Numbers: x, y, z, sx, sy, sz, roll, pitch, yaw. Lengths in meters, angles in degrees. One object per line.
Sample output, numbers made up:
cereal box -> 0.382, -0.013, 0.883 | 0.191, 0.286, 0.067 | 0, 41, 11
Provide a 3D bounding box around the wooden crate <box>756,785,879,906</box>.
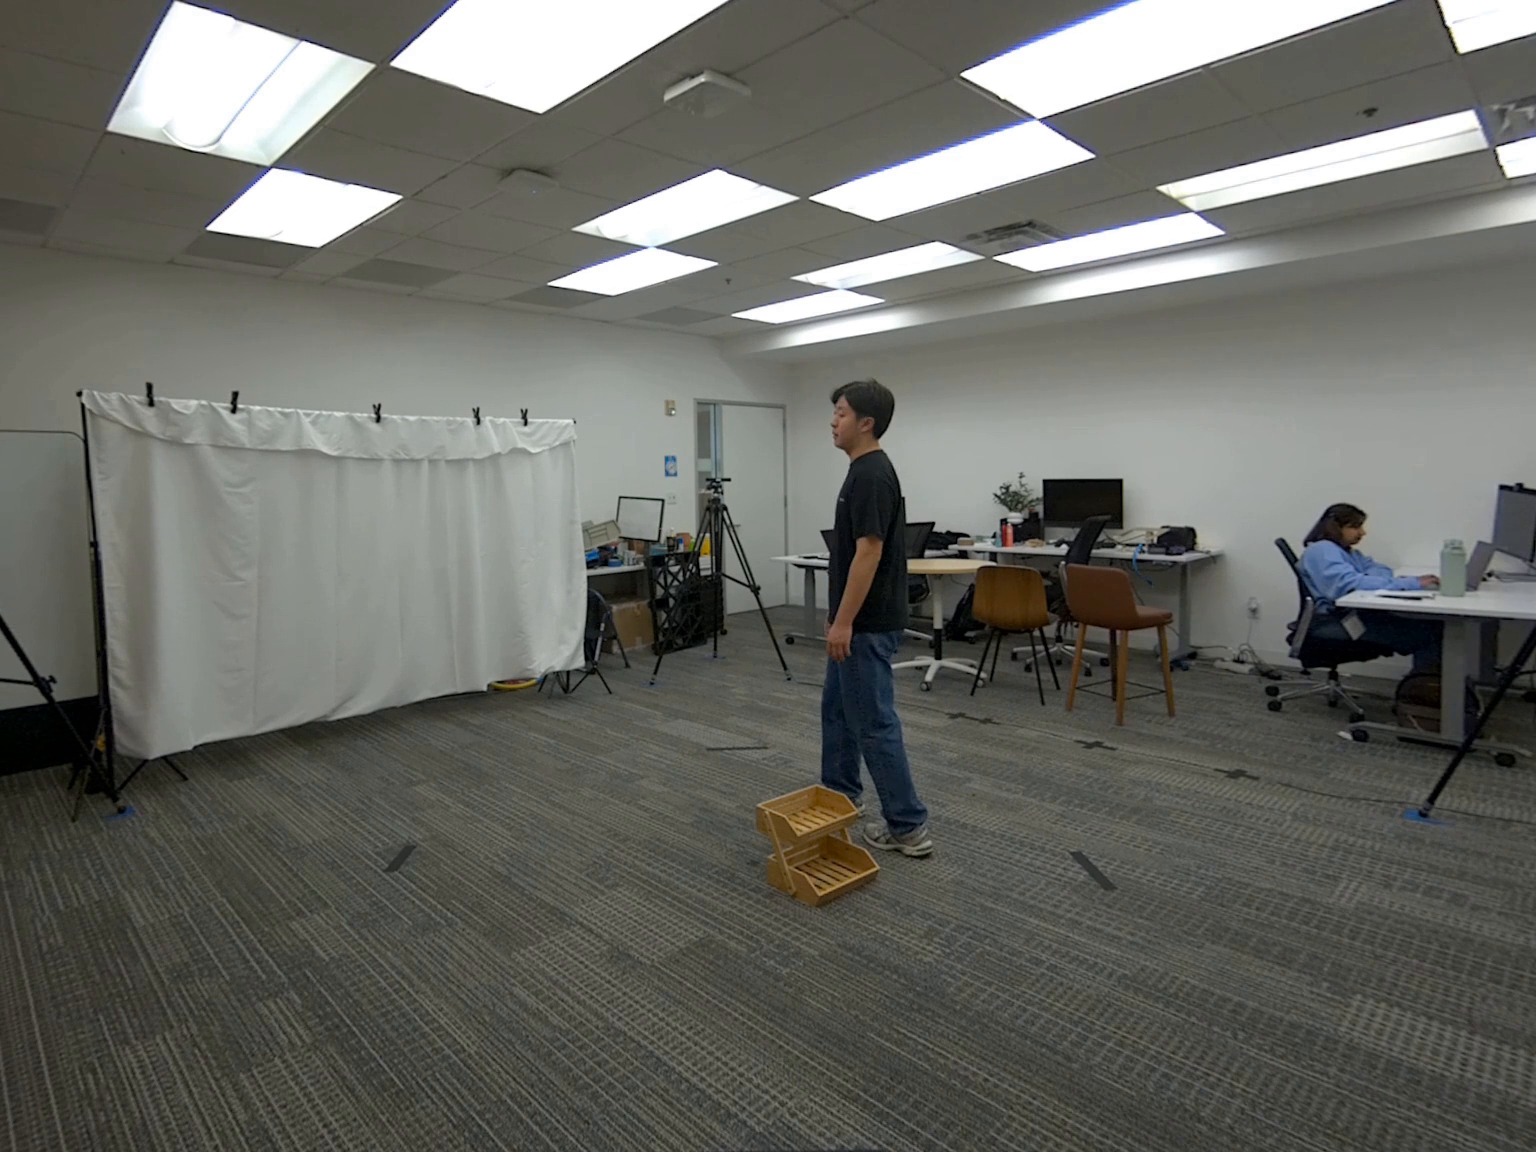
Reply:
wooden crate -> 0.177, 0.921, 2.959 | 0.316, 0.272, 0.311 | -6, 6, -41
